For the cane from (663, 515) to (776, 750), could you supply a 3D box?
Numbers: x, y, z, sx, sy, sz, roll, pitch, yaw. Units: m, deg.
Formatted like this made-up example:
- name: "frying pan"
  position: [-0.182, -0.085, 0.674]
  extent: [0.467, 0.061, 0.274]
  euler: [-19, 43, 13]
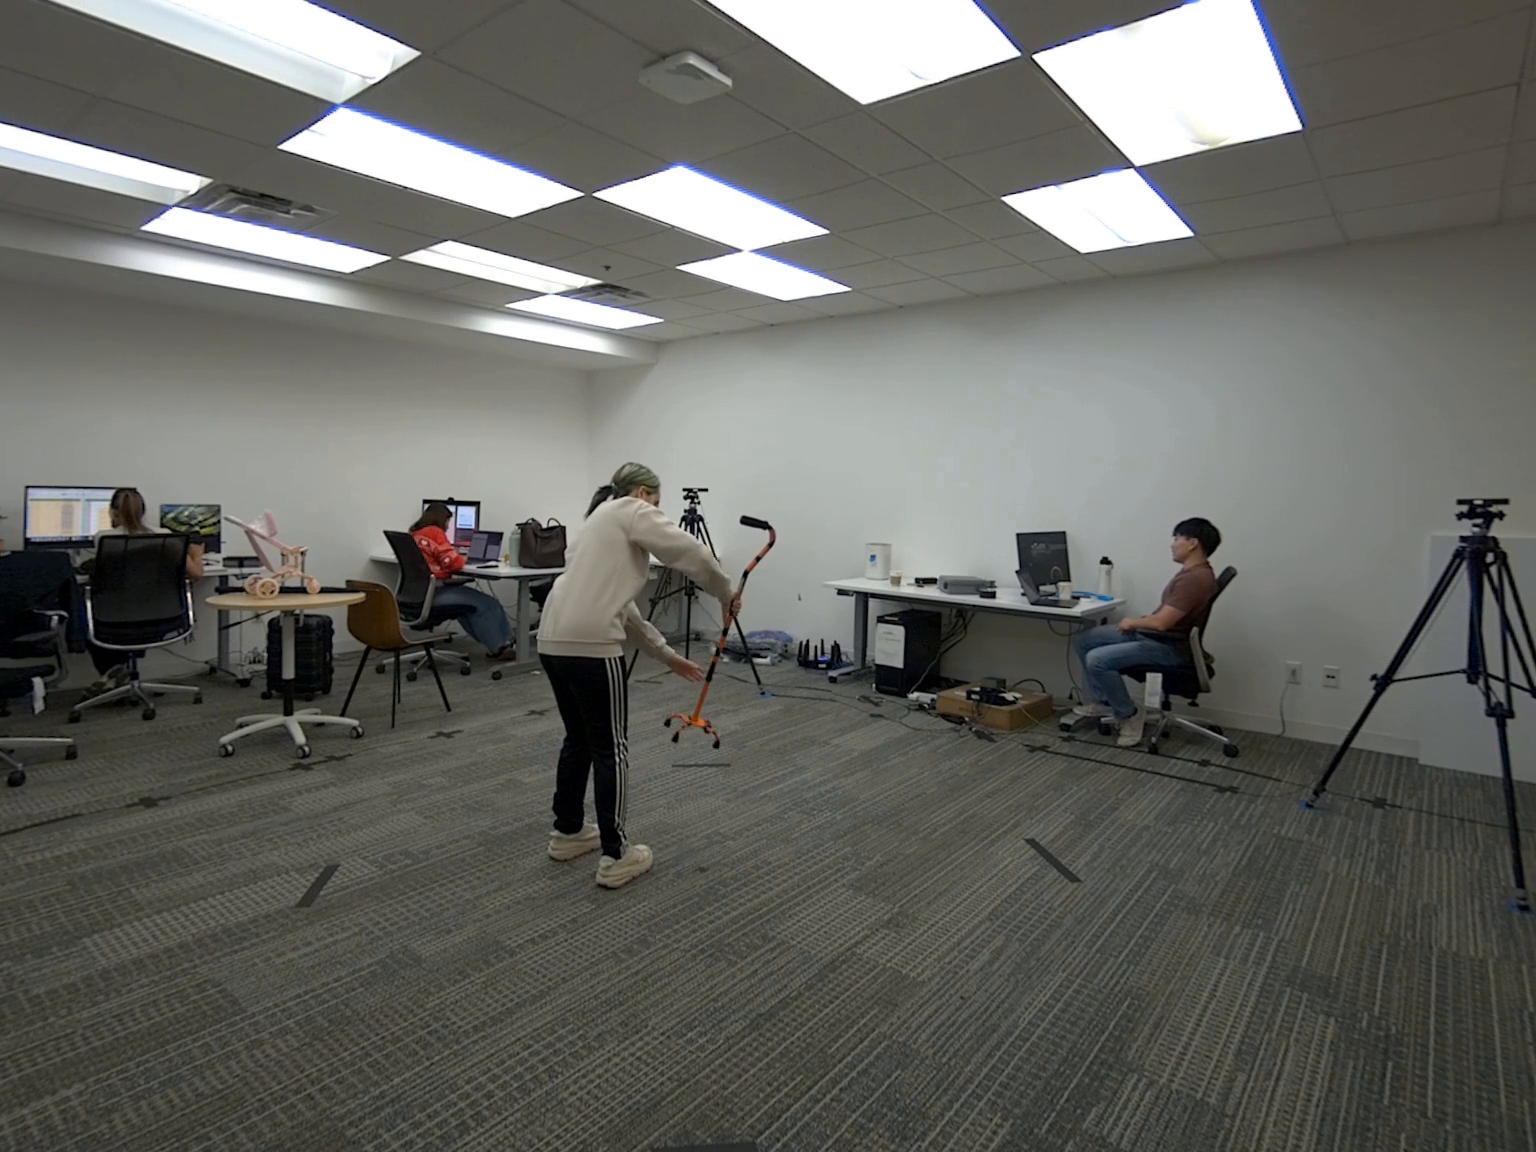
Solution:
- name: "cane"
  position: [-0.164, 0.221, 3.281]
  extent: [0.200, 0.903, 0.157]
  euler: [15, 10, -28]
